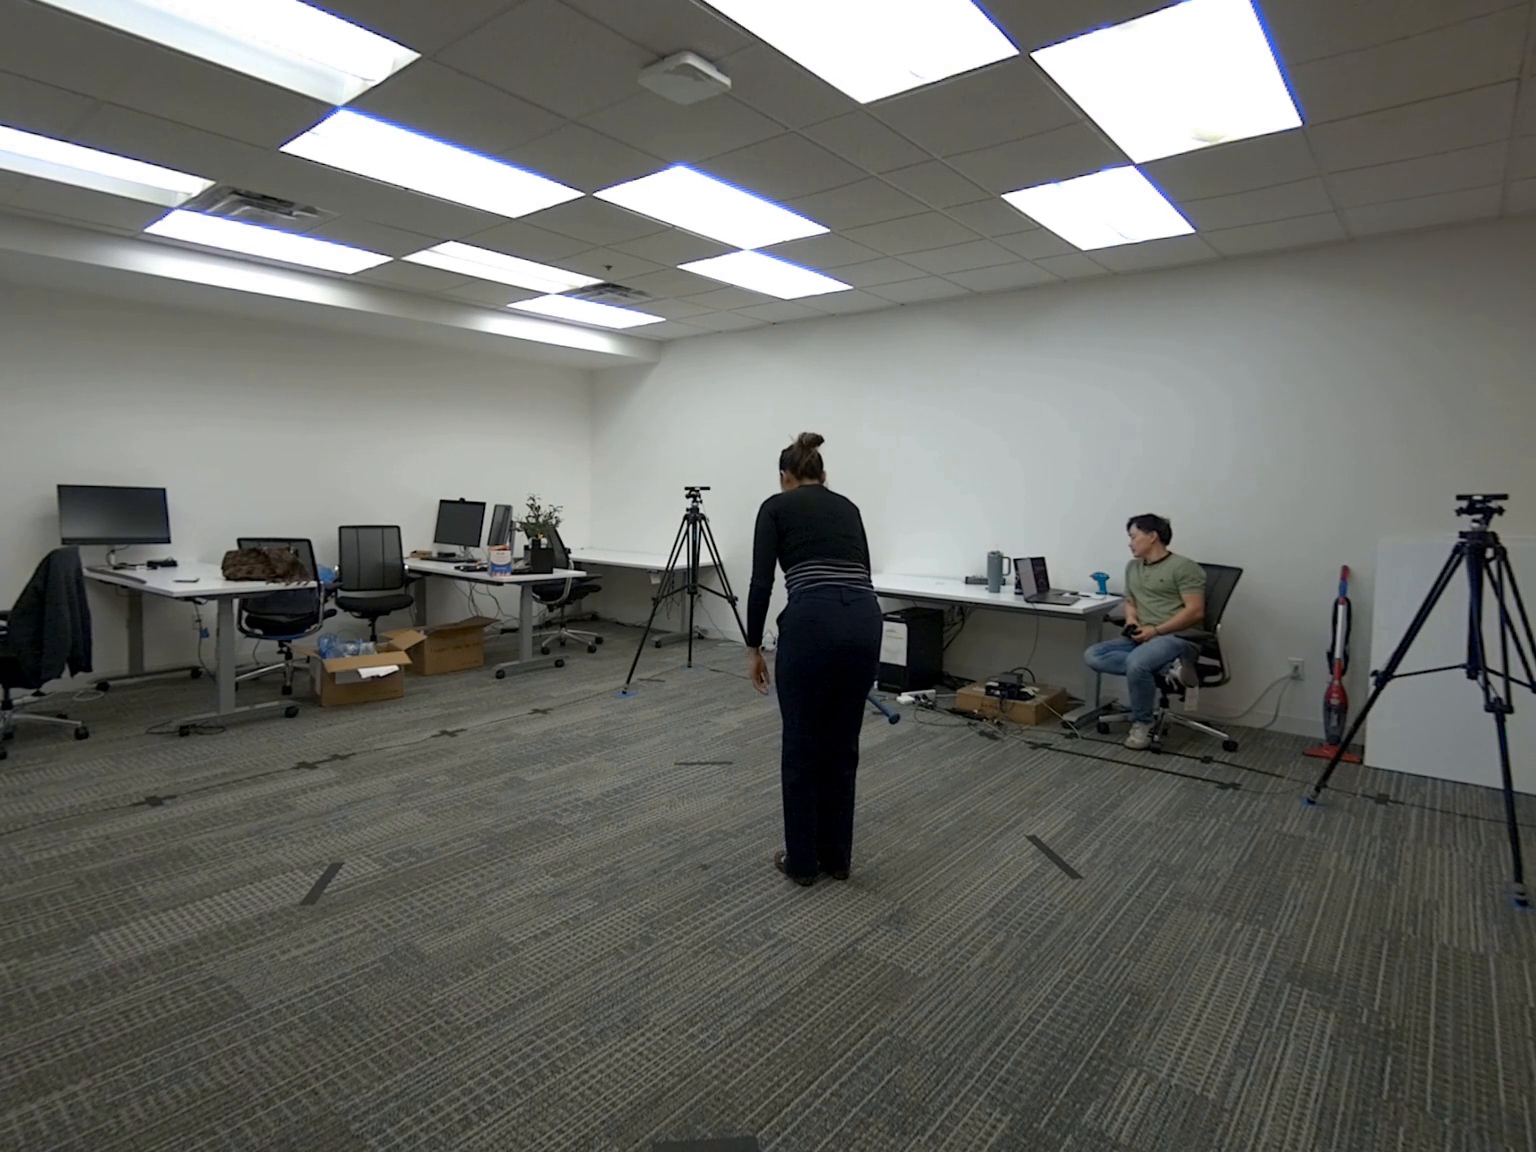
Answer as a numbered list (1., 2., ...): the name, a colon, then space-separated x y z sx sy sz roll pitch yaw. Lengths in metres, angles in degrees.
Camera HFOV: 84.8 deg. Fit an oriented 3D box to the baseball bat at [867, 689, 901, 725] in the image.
1. baseball bat: 0.321 0.414 3.395 0.086 0.088 0.567 -2 30 -37
